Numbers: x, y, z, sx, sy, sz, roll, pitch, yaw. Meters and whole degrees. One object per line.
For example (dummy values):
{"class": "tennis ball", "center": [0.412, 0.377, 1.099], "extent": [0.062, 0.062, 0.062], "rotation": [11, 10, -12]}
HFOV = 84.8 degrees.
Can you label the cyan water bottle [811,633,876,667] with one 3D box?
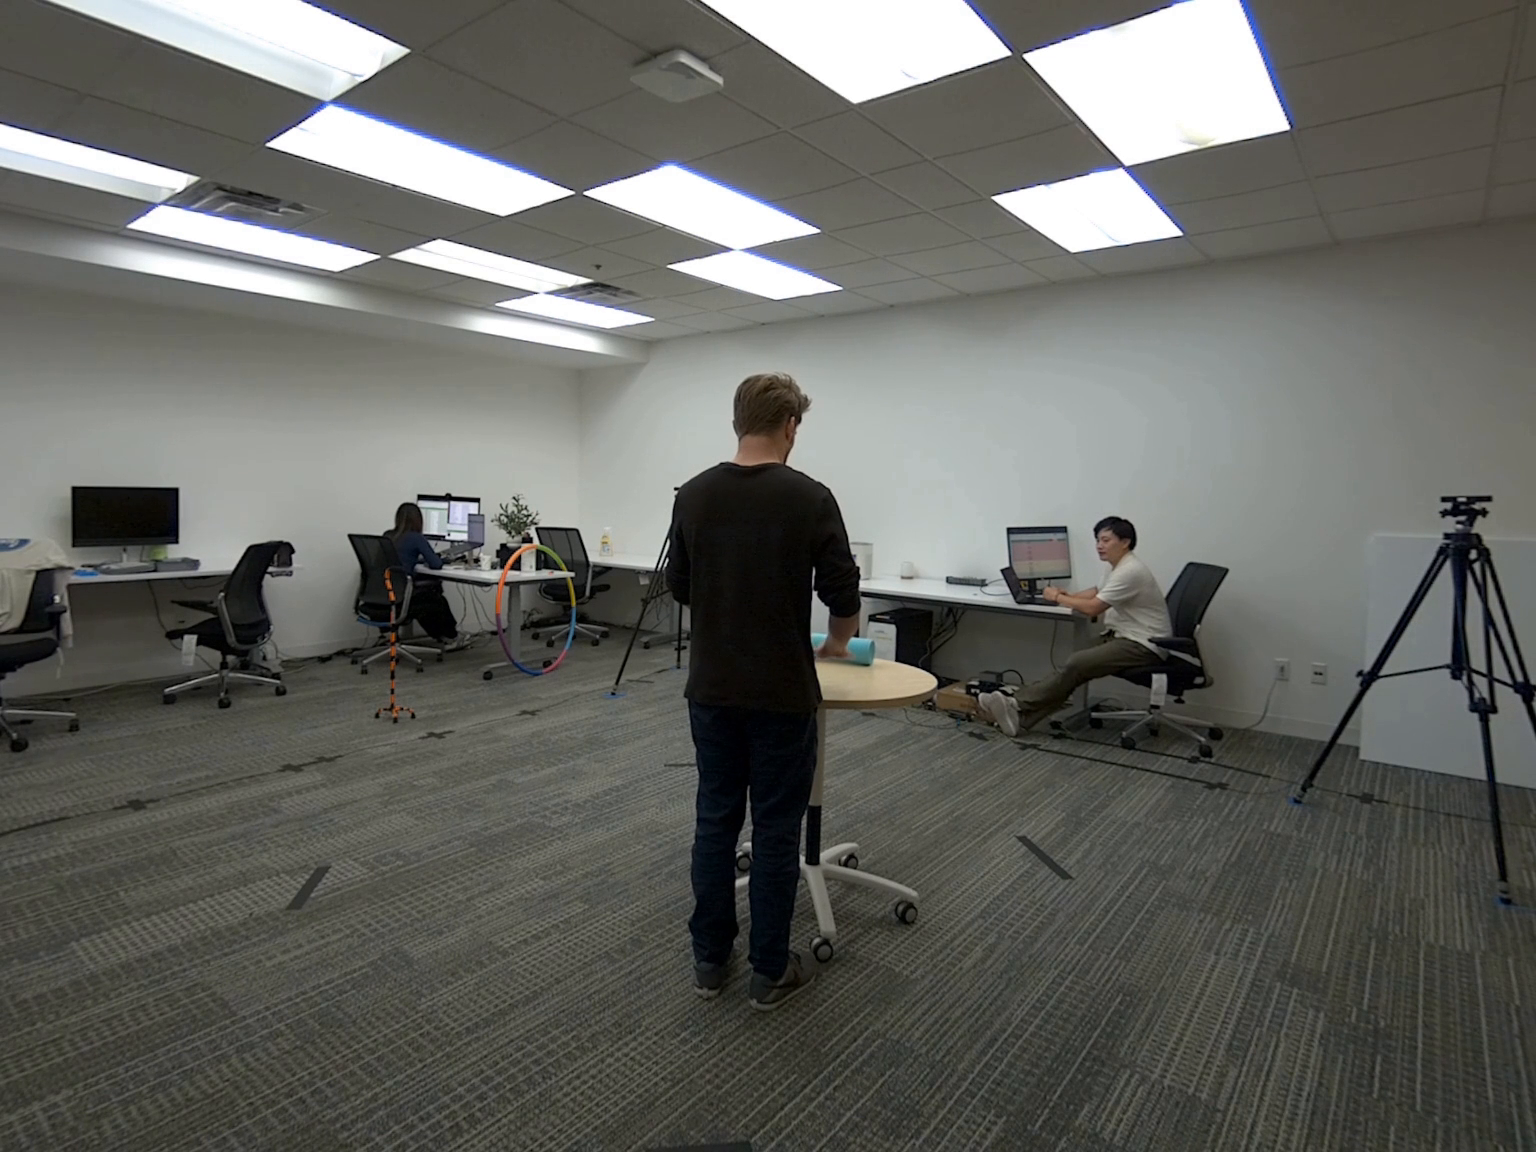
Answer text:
{"class": "cyan water bottle", "center": [0.226, 0.253, 3.032], "extent": [0.291, 0.092, 0.090], "rotation": [5, 5, 25]}
